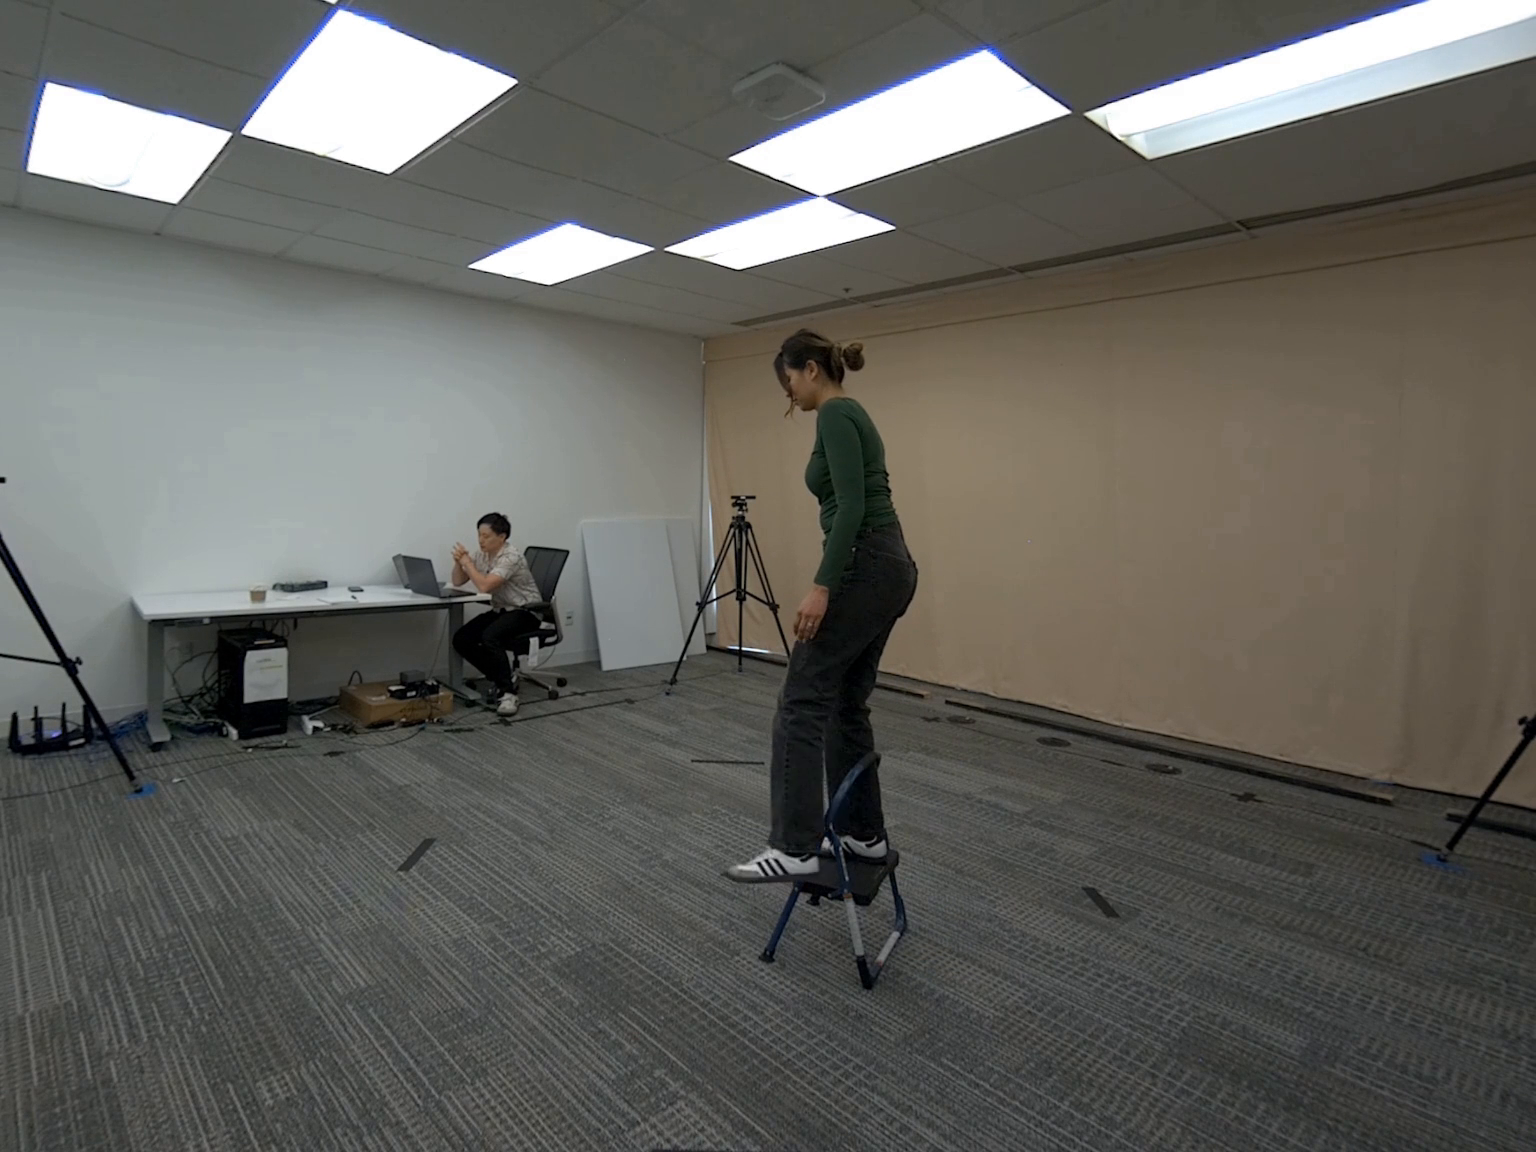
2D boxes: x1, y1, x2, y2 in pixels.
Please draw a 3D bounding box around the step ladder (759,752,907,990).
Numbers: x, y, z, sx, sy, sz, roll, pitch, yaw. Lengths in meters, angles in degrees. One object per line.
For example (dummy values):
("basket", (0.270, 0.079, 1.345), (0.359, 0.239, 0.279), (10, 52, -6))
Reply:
("step ladder", (0.223, 0.856, 2.625), (0.356, 0.604, 0.423), (4, 4, 24))
